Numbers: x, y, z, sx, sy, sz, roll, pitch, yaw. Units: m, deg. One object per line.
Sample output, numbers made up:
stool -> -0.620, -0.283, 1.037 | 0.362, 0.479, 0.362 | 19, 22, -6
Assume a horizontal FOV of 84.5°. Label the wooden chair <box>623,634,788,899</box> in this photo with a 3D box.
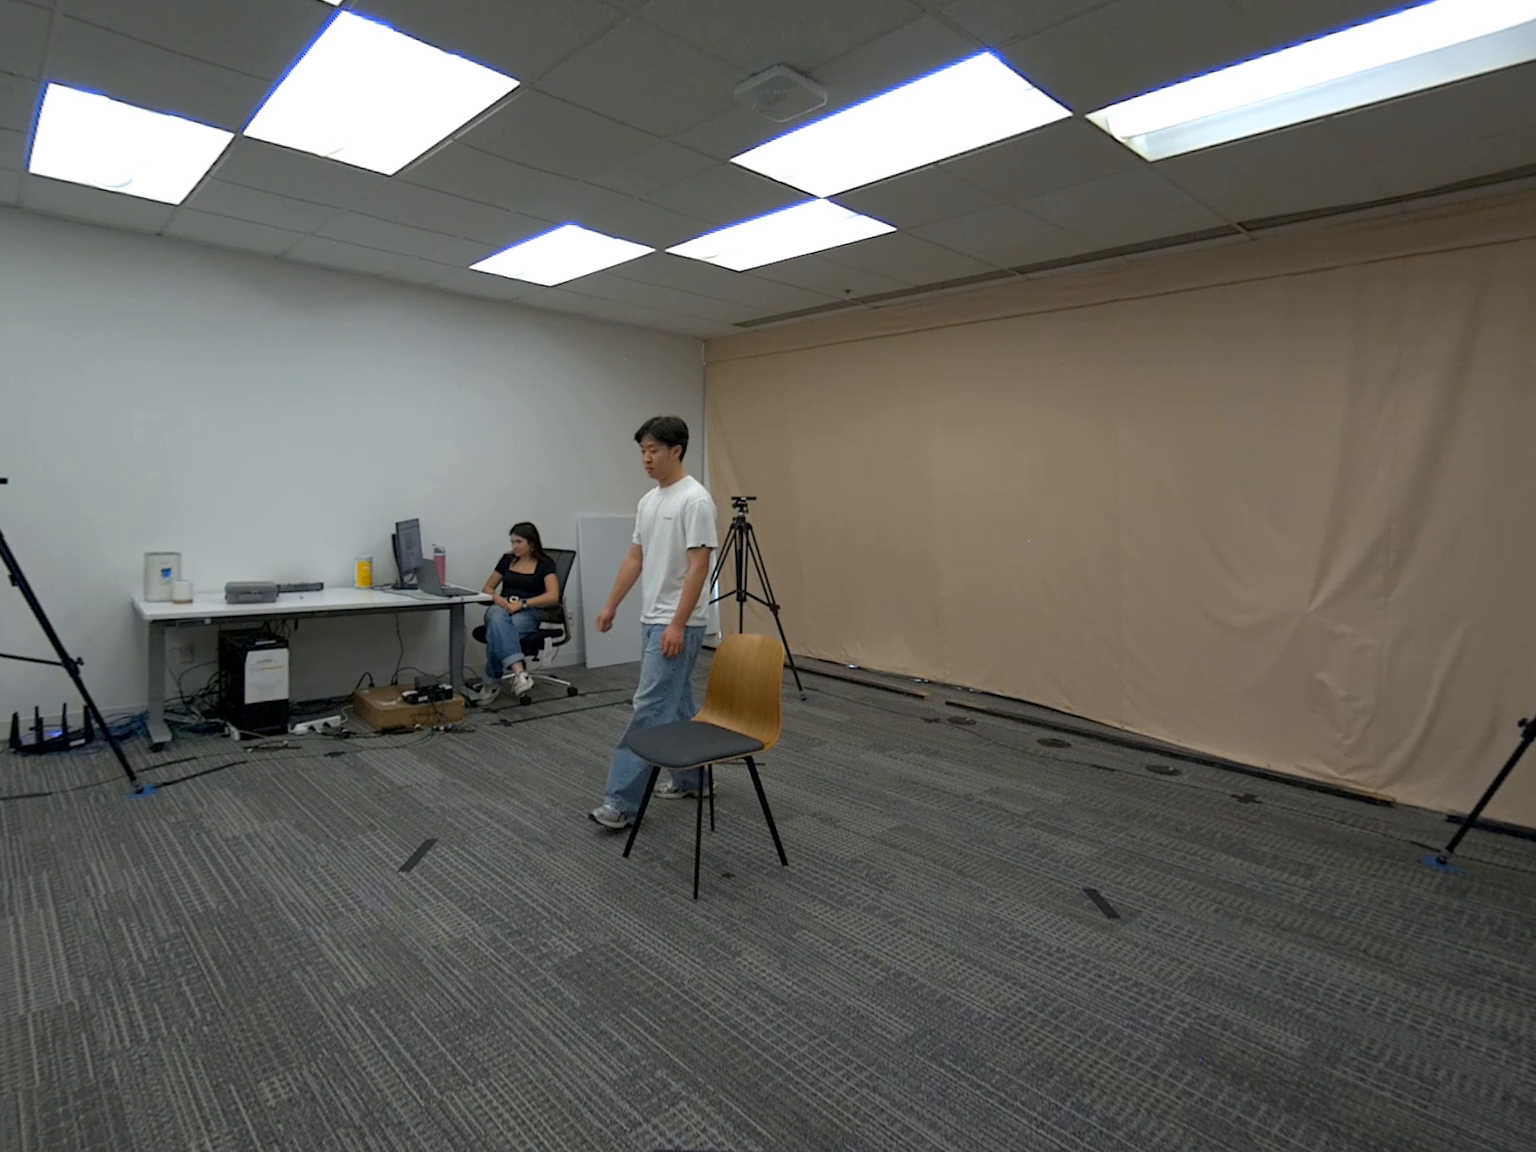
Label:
wooden chair -> -0.240, 0.671, 3.186 | 0.510, 0.877, 0.490 | 4, 0, -43
